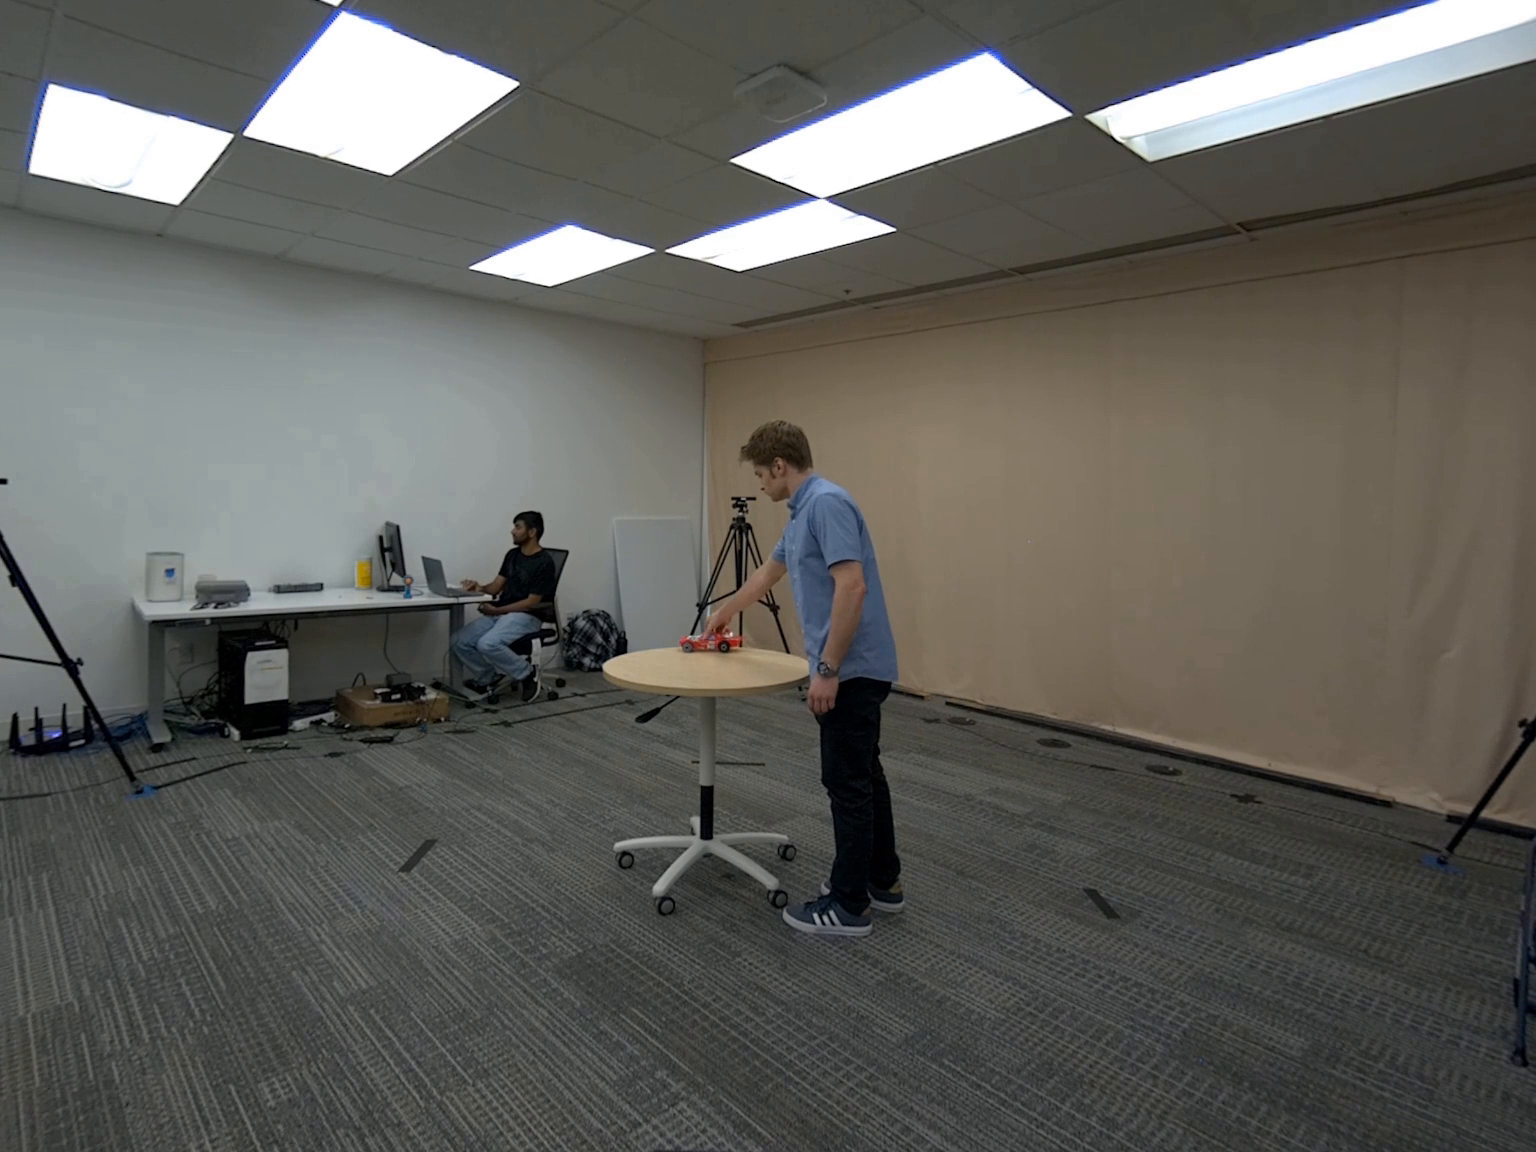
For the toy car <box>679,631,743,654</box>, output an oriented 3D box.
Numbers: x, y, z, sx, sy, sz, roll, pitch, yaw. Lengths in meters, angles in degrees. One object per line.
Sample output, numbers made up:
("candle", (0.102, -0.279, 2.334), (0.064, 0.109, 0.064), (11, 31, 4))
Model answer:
("toy car", (-0.233, 0.268, 3.356), (0.254, 0.083, 0.131), (-11, 5, 0))
